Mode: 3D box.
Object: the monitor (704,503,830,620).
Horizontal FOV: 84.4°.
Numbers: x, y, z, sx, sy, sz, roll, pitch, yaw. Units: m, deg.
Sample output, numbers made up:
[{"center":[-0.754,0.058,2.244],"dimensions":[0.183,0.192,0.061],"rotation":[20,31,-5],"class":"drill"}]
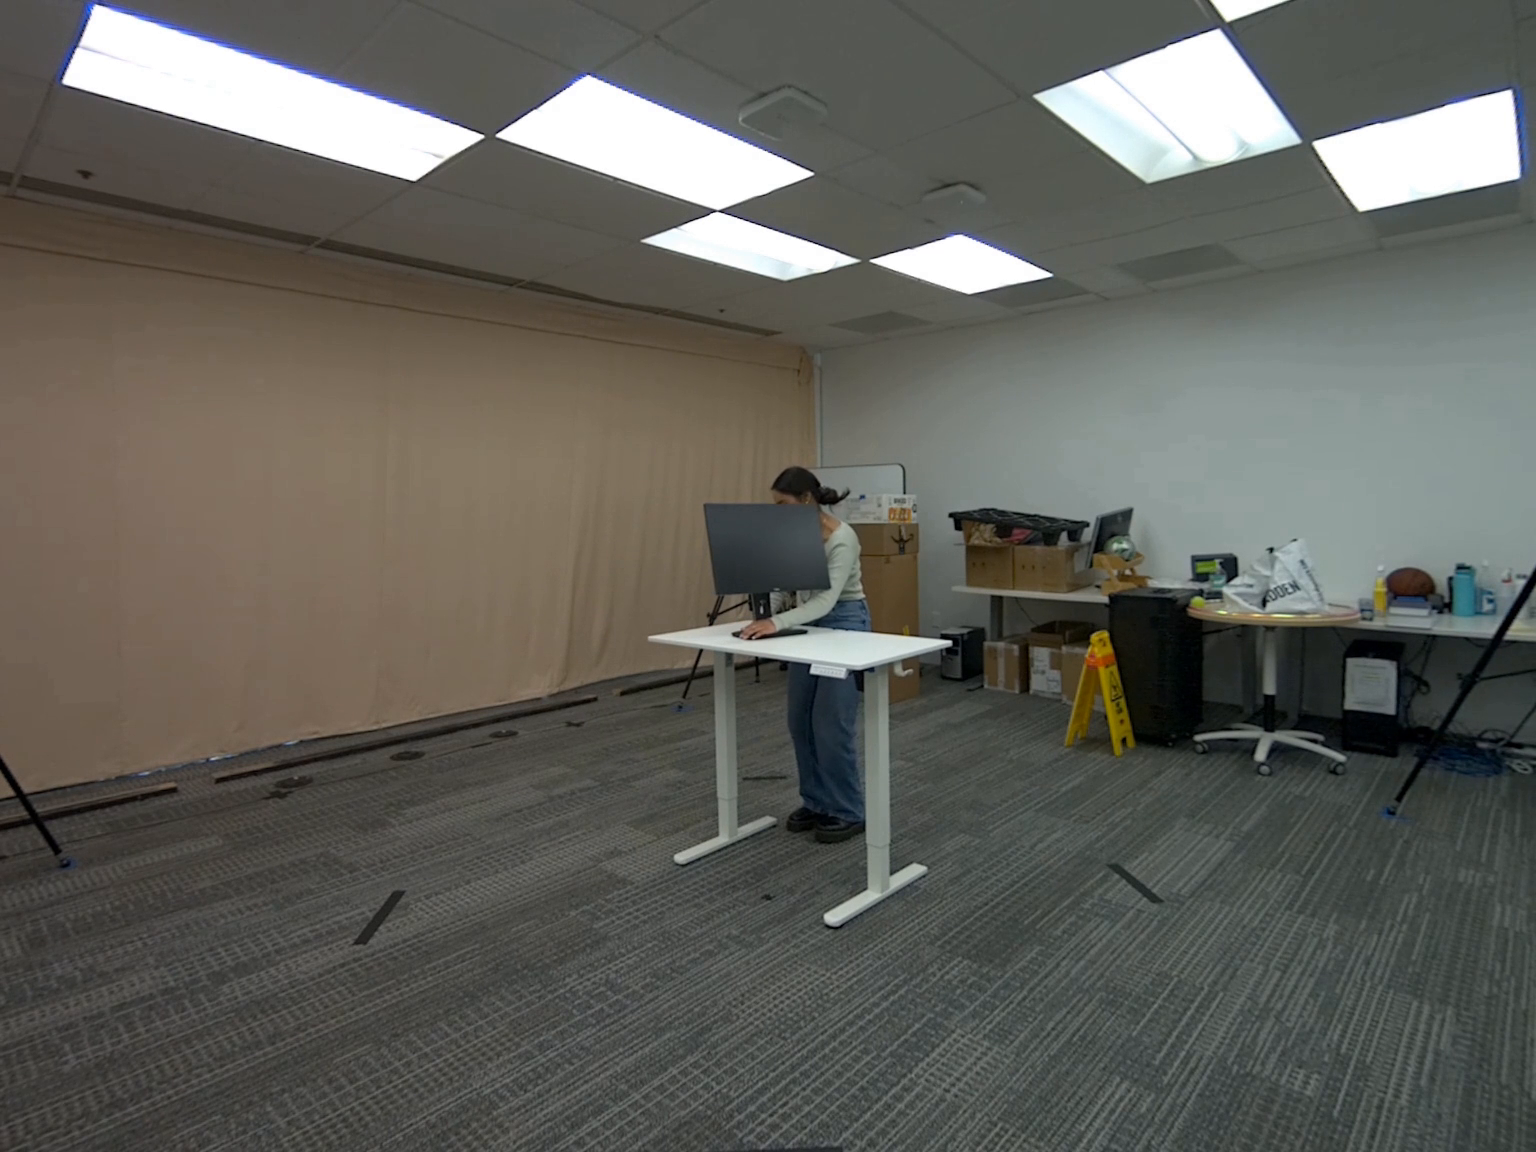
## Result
[{"center":[-0.006,-0.028,3.300],"dimensions":[0.515,0.515,0.180],"rotation":[-1,5,-34],"class":"monitor"}]
